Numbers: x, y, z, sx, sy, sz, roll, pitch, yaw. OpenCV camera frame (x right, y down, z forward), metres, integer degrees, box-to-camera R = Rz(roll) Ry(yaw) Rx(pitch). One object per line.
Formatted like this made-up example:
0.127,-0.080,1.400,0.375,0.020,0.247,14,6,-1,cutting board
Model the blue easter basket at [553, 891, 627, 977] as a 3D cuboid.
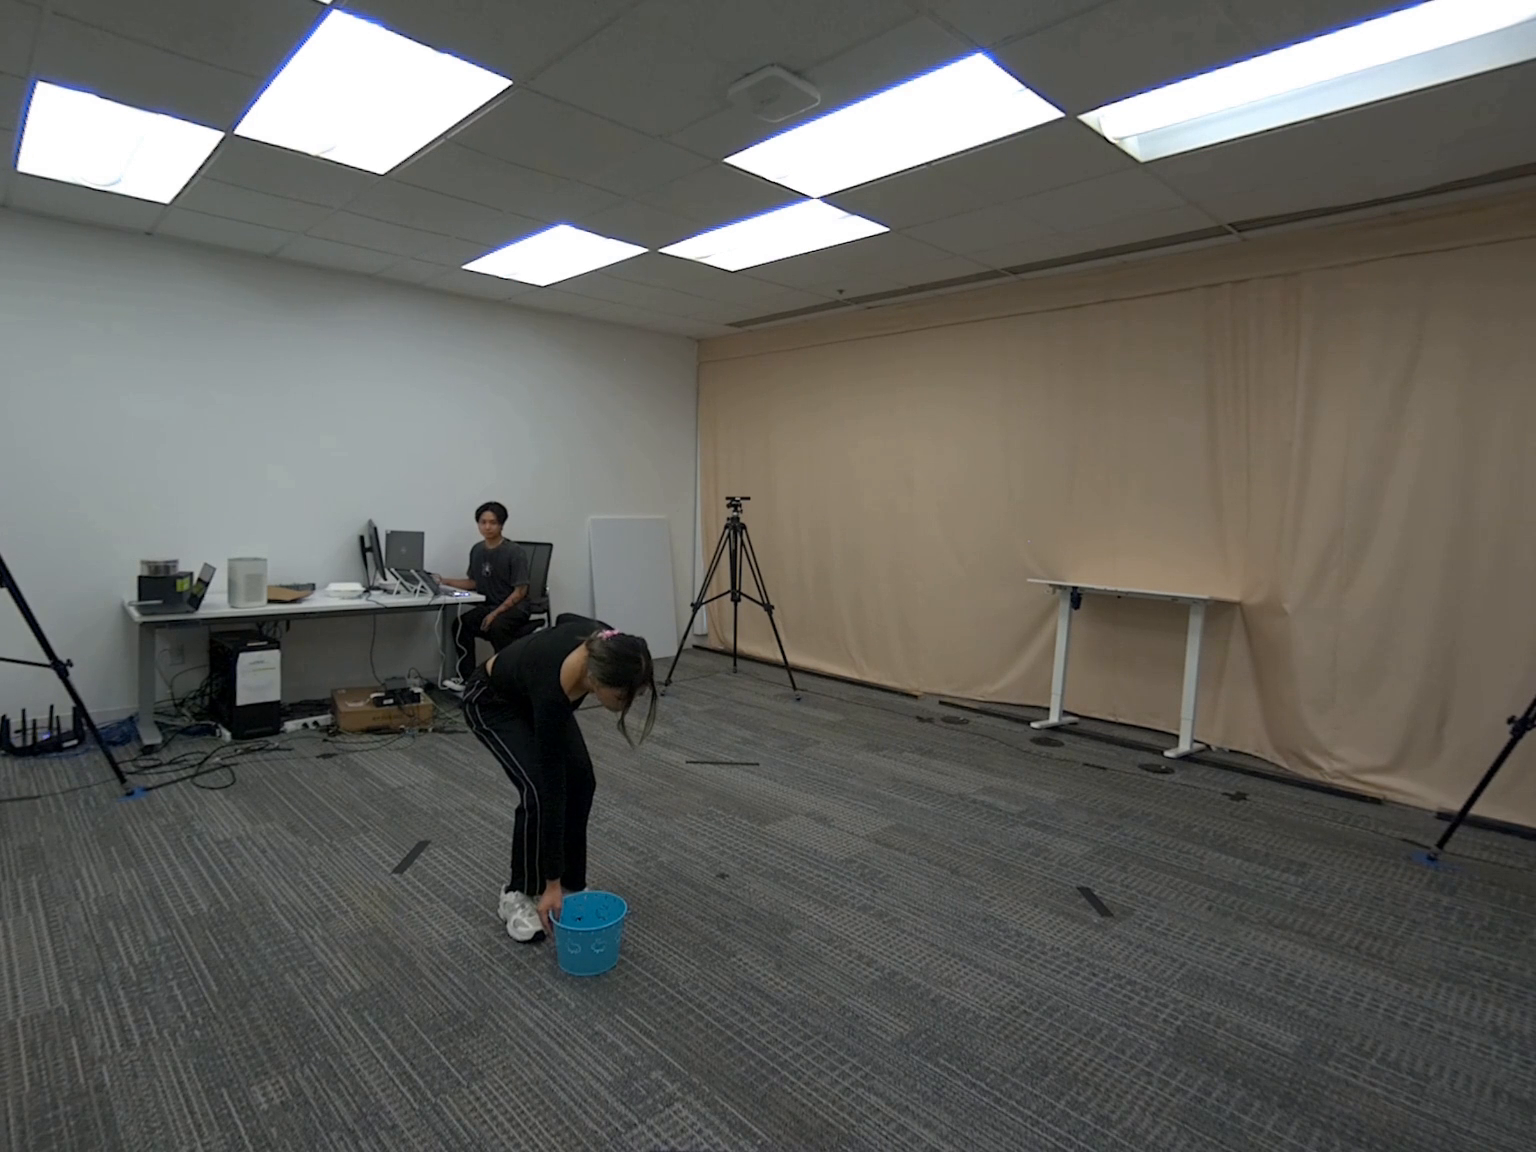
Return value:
-0.550,1.072,2.527,0.243,0.155,0.244,1,5,-1,blue easter basket
